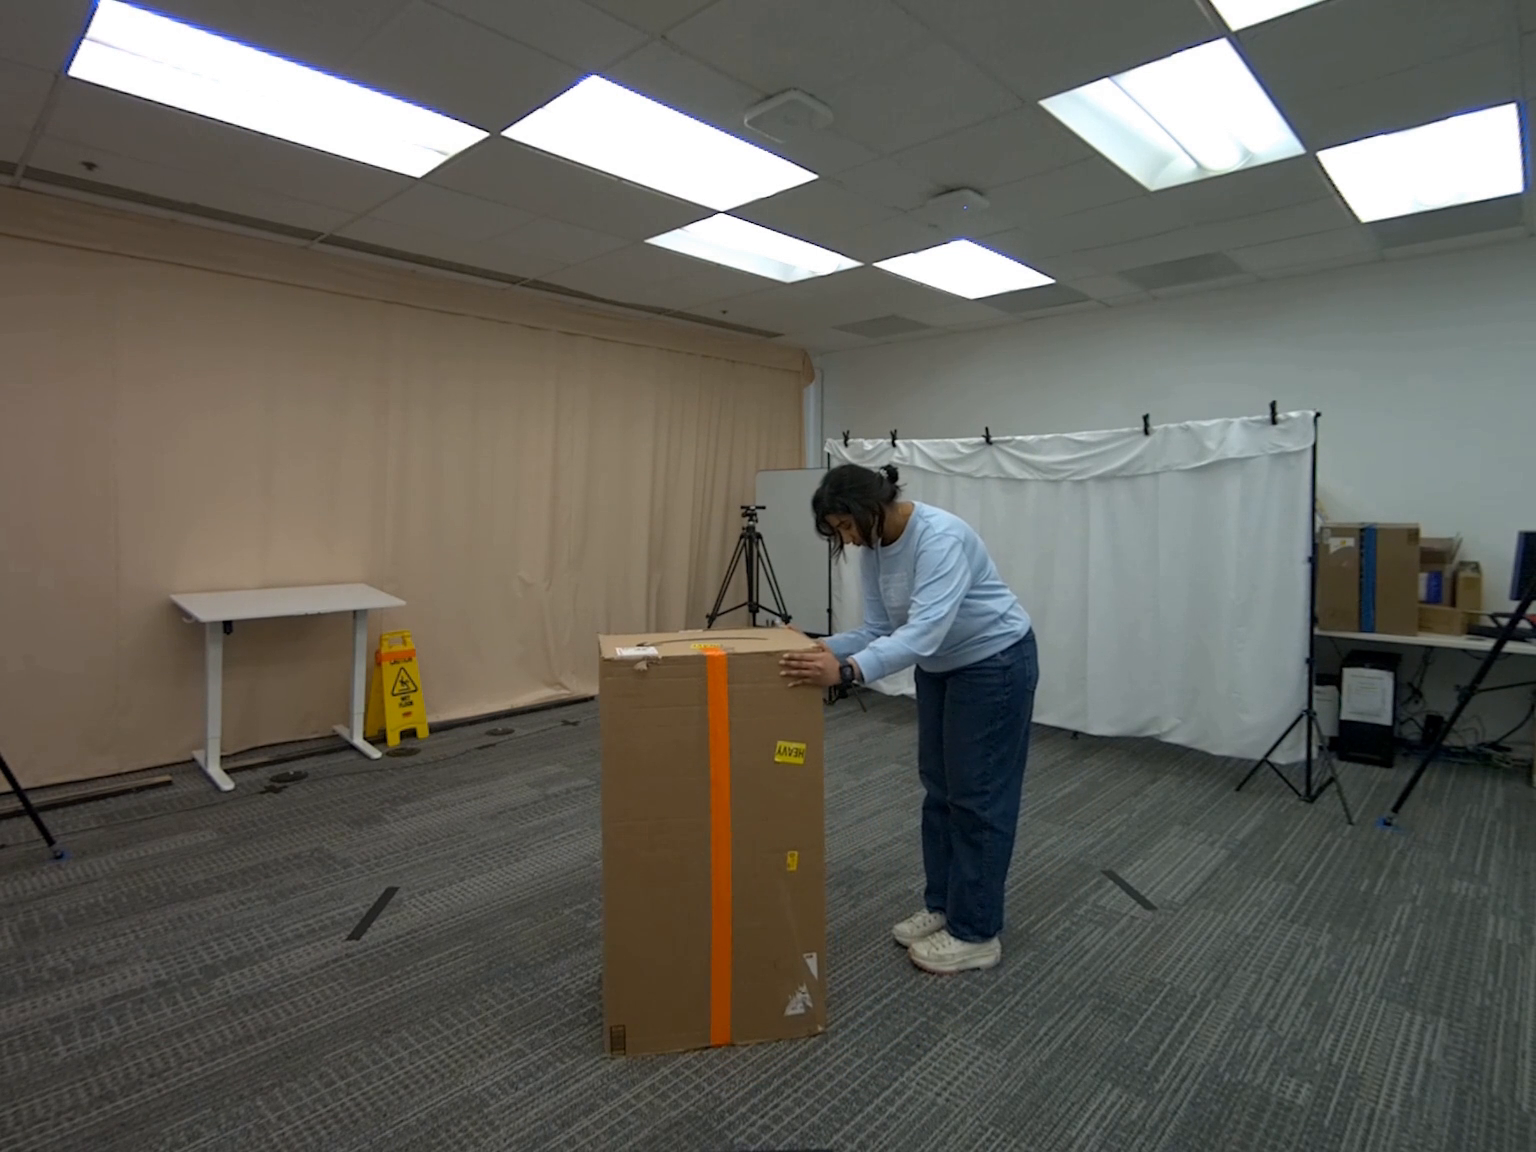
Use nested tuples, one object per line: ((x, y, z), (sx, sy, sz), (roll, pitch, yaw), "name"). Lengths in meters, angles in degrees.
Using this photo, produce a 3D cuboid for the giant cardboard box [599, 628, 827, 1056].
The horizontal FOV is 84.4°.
((-0.169, 0.693, 2.353), (0.571, 1.024, 0.432), (-1, 3, -11), "giant cardboard box")
